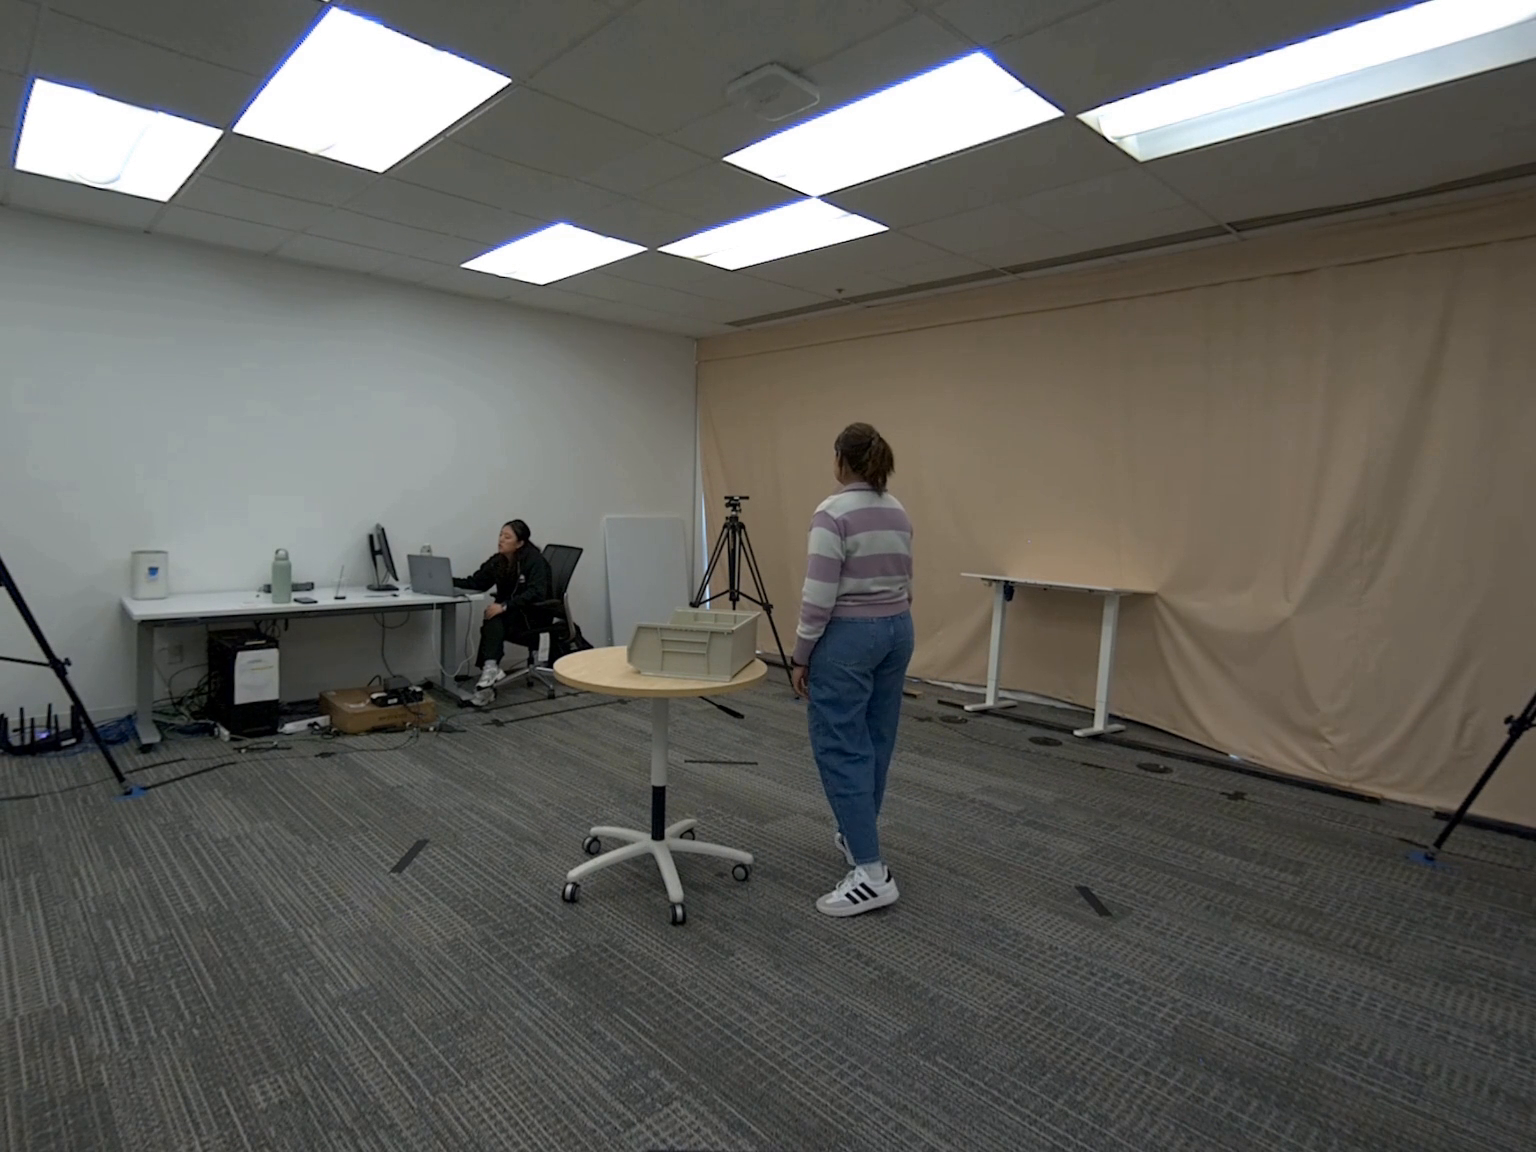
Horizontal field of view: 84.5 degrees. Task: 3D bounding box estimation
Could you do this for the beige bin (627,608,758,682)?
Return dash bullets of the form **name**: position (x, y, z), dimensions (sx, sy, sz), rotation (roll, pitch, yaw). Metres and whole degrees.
- **beige bin**: position (-0.257, 0.235, 3.014), dimensions (0.382, 0.188, 0.419), rotation (4, 6, 13)
